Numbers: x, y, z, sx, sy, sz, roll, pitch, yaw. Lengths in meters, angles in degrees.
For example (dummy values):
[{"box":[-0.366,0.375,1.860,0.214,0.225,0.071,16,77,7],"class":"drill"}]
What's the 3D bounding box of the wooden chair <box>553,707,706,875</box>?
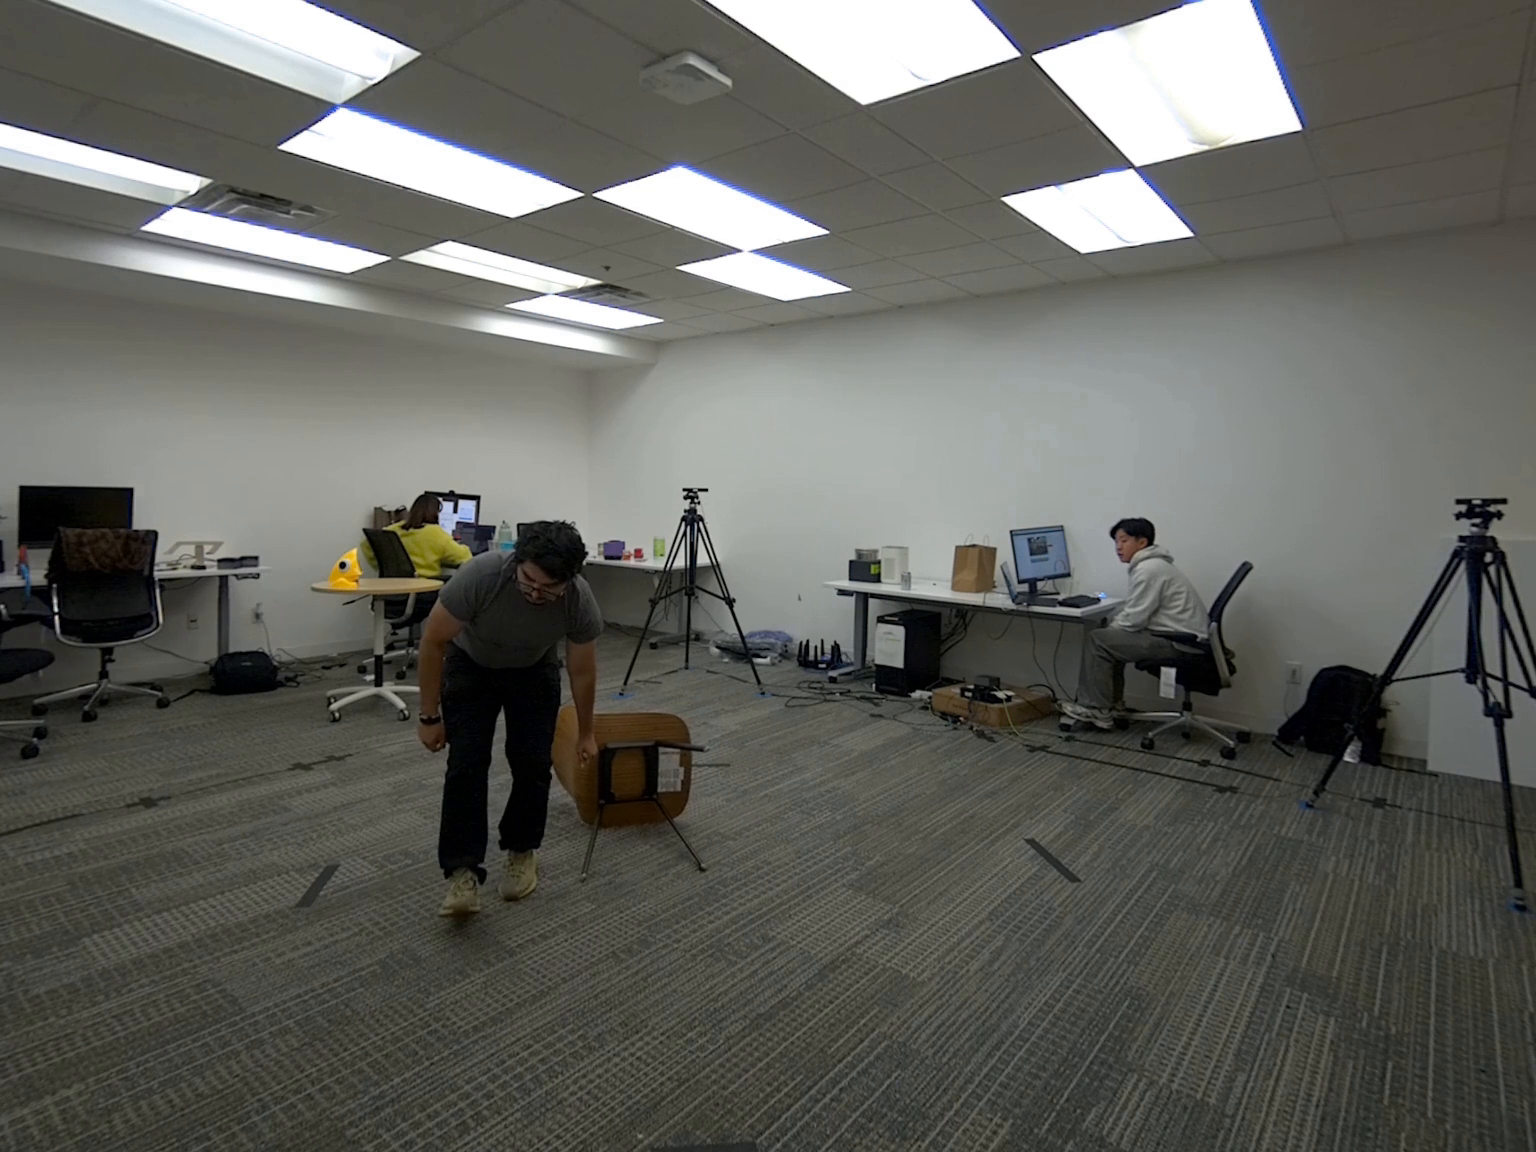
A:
[{"box":[-0.577,0.797,3.444,0.512,0.477,0.898,0,5,-21],"class":"wooden chair"}]
